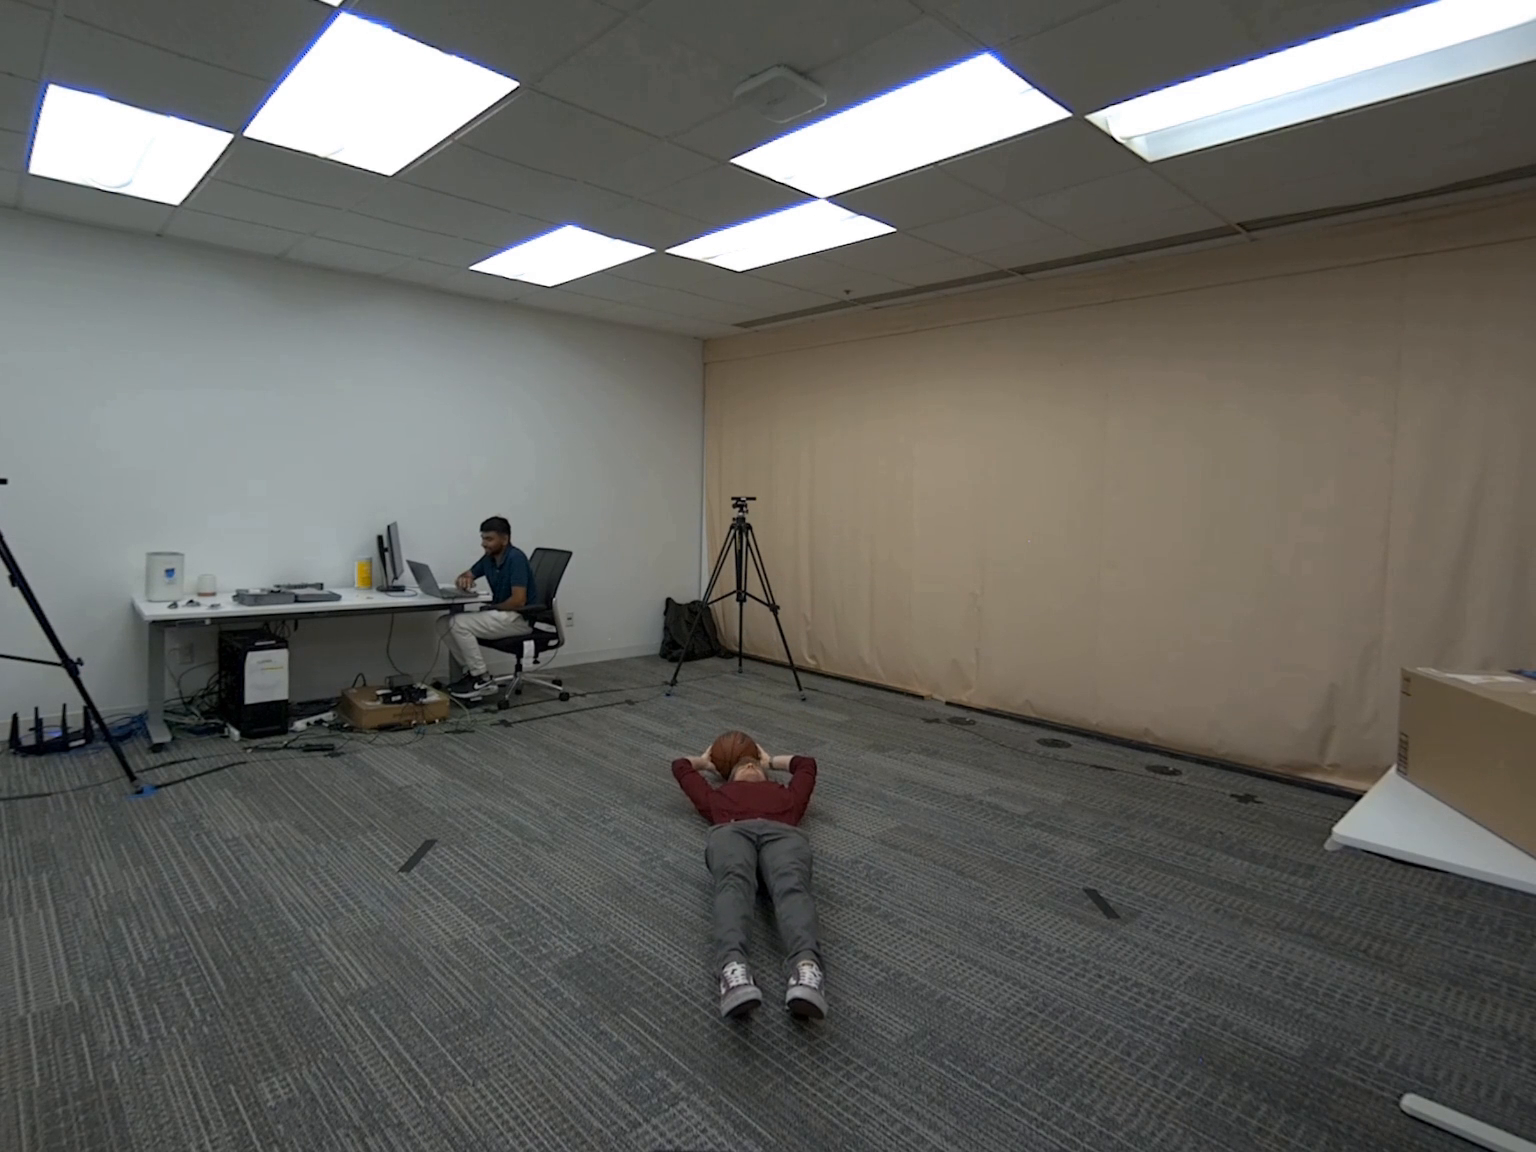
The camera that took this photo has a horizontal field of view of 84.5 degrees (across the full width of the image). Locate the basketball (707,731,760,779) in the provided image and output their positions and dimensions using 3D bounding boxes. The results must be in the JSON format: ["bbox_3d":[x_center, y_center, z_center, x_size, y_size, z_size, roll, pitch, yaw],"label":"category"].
[{"bbox_3d":[-0.181,0.885,4.186,0.236,0.235,0.237,1,4,-1],"label":"basketball"}]
